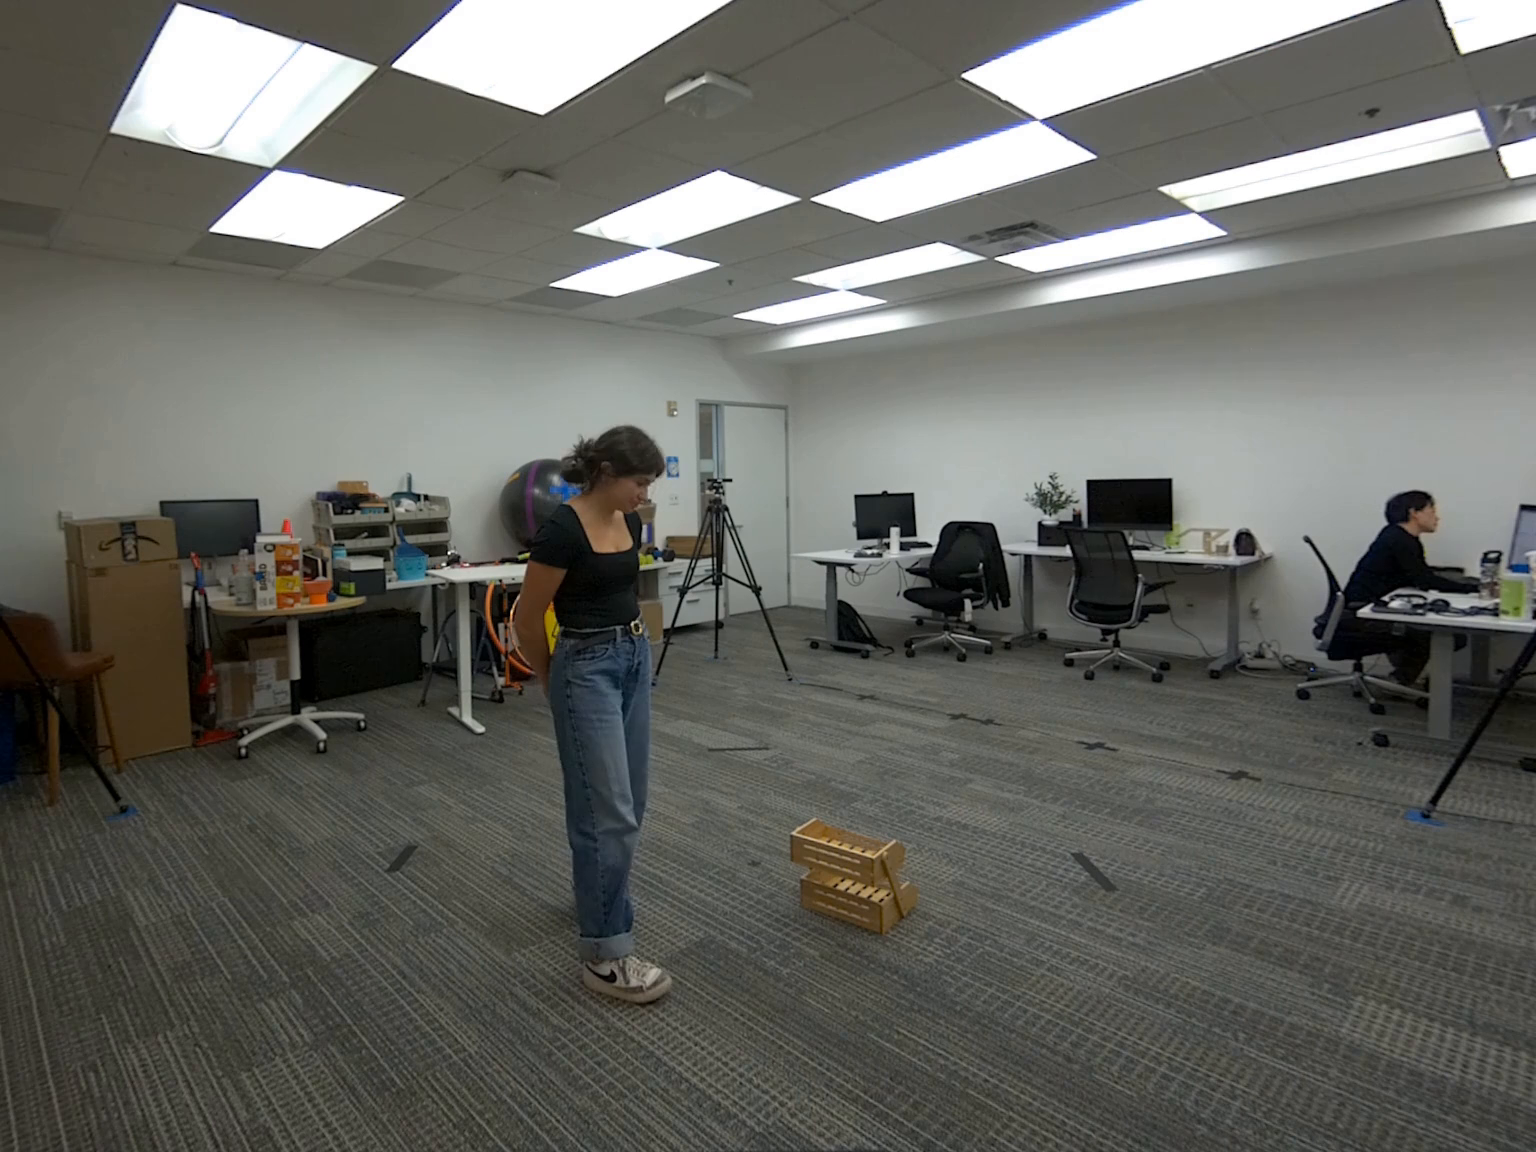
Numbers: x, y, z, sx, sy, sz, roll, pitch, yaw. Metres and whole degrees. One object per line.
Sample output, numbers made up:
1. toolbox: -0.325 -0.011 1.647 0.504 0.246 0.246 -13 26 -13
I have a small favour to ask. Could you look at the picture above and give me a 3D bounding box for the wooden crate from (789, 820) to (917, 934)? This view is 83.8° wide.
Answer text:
1. wooden crate: 0.290 0.947 2.769 0.334 0.272 0.295 3 7 37
